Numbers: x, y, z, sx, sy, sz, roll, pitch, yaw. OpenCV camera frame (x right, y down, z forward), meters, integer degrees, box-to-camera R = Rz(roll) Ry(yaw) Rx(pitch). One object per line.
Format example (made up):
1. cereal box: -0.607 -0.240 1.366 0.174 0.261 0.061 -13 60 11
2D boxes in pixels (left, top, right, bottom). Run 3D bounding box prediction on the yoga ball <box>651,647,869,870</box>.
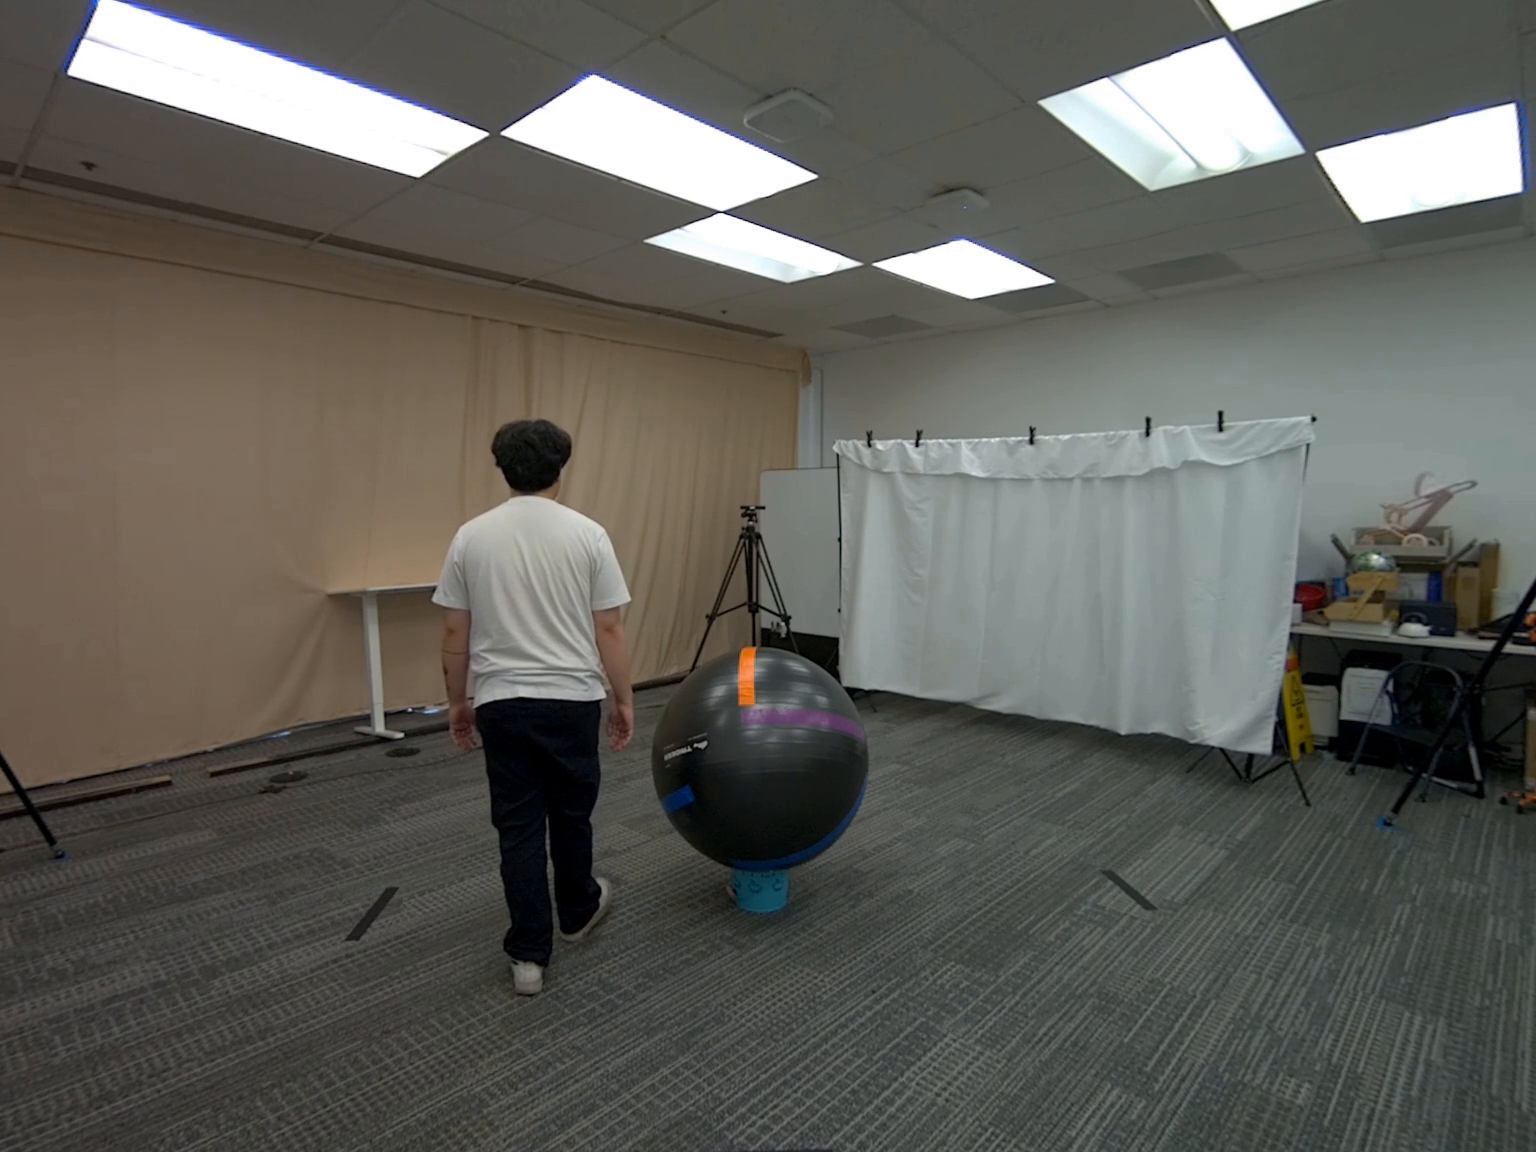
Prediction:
1. yoga ball: -0.030 0.635 2.952 0.757 0.756 0.761 0 4 -2
